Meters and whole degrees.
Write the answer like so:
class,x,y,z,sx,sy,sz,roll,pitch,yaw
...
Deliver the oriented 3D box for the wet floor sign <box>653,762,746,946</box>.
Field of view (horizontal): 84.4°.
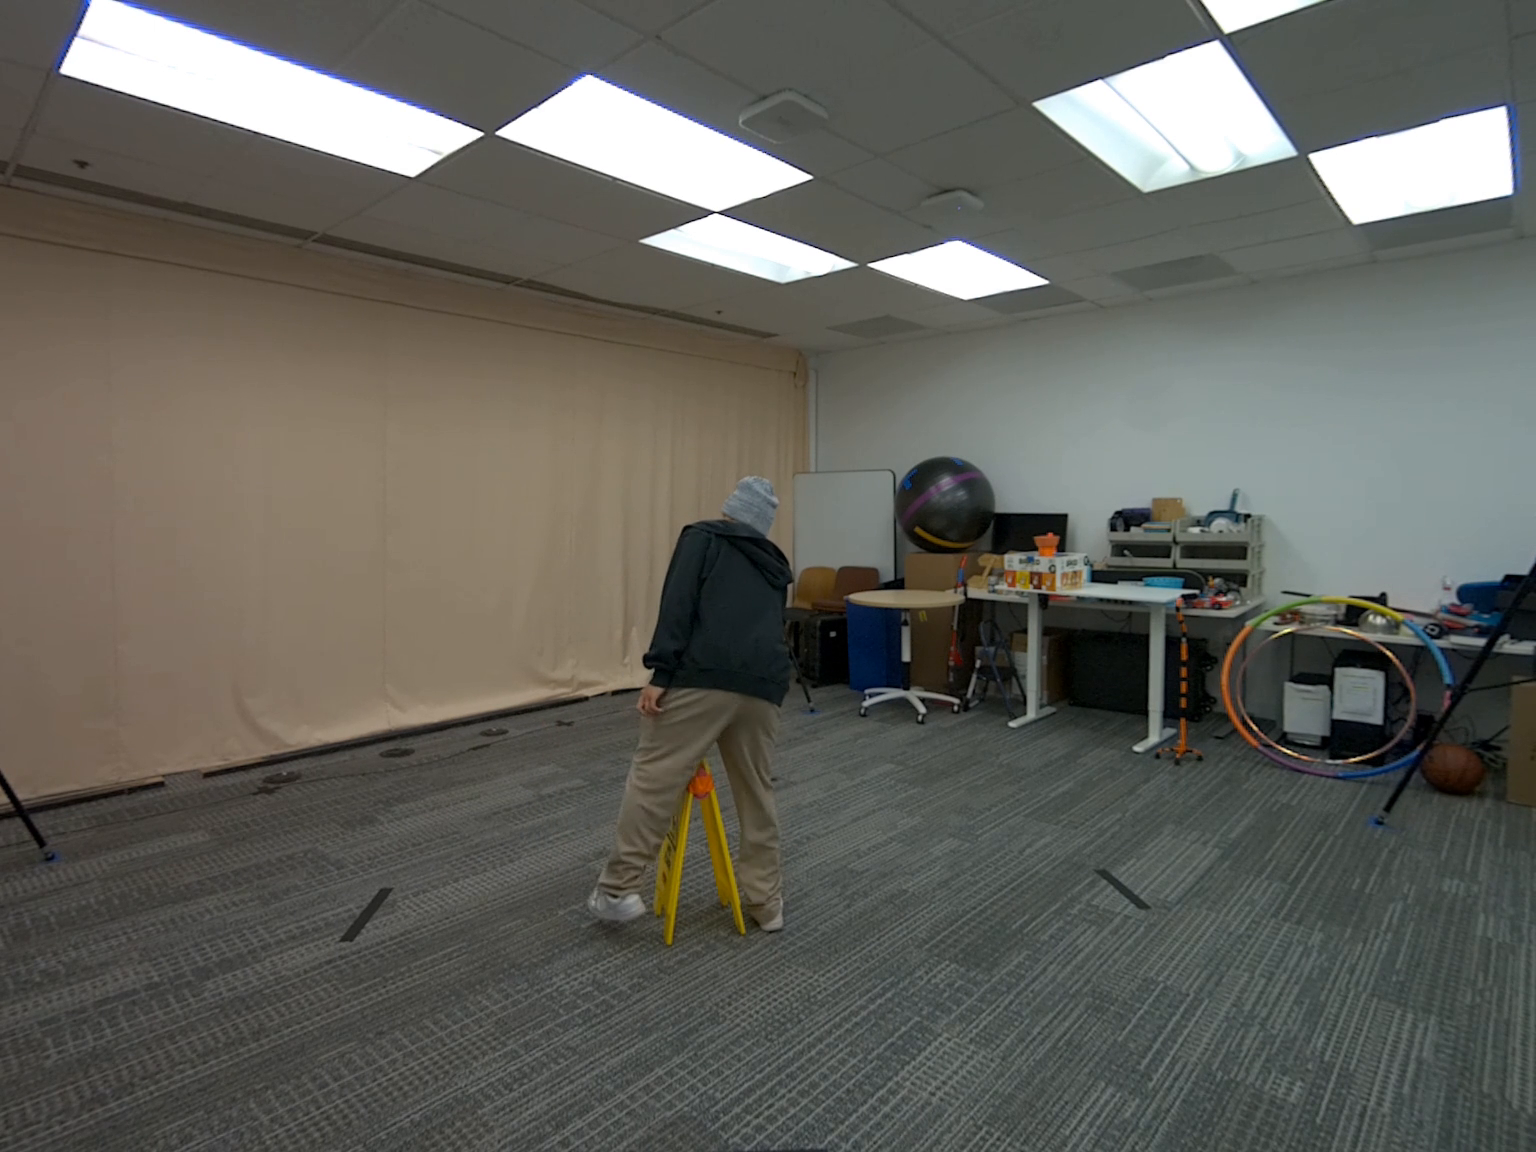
class,x,y,z,sx,sy,sz,roll,pitch,yaw
wet floor sign,-0.244,0.839,2.813,0.285,0.645,0.287,-2,2,-16
